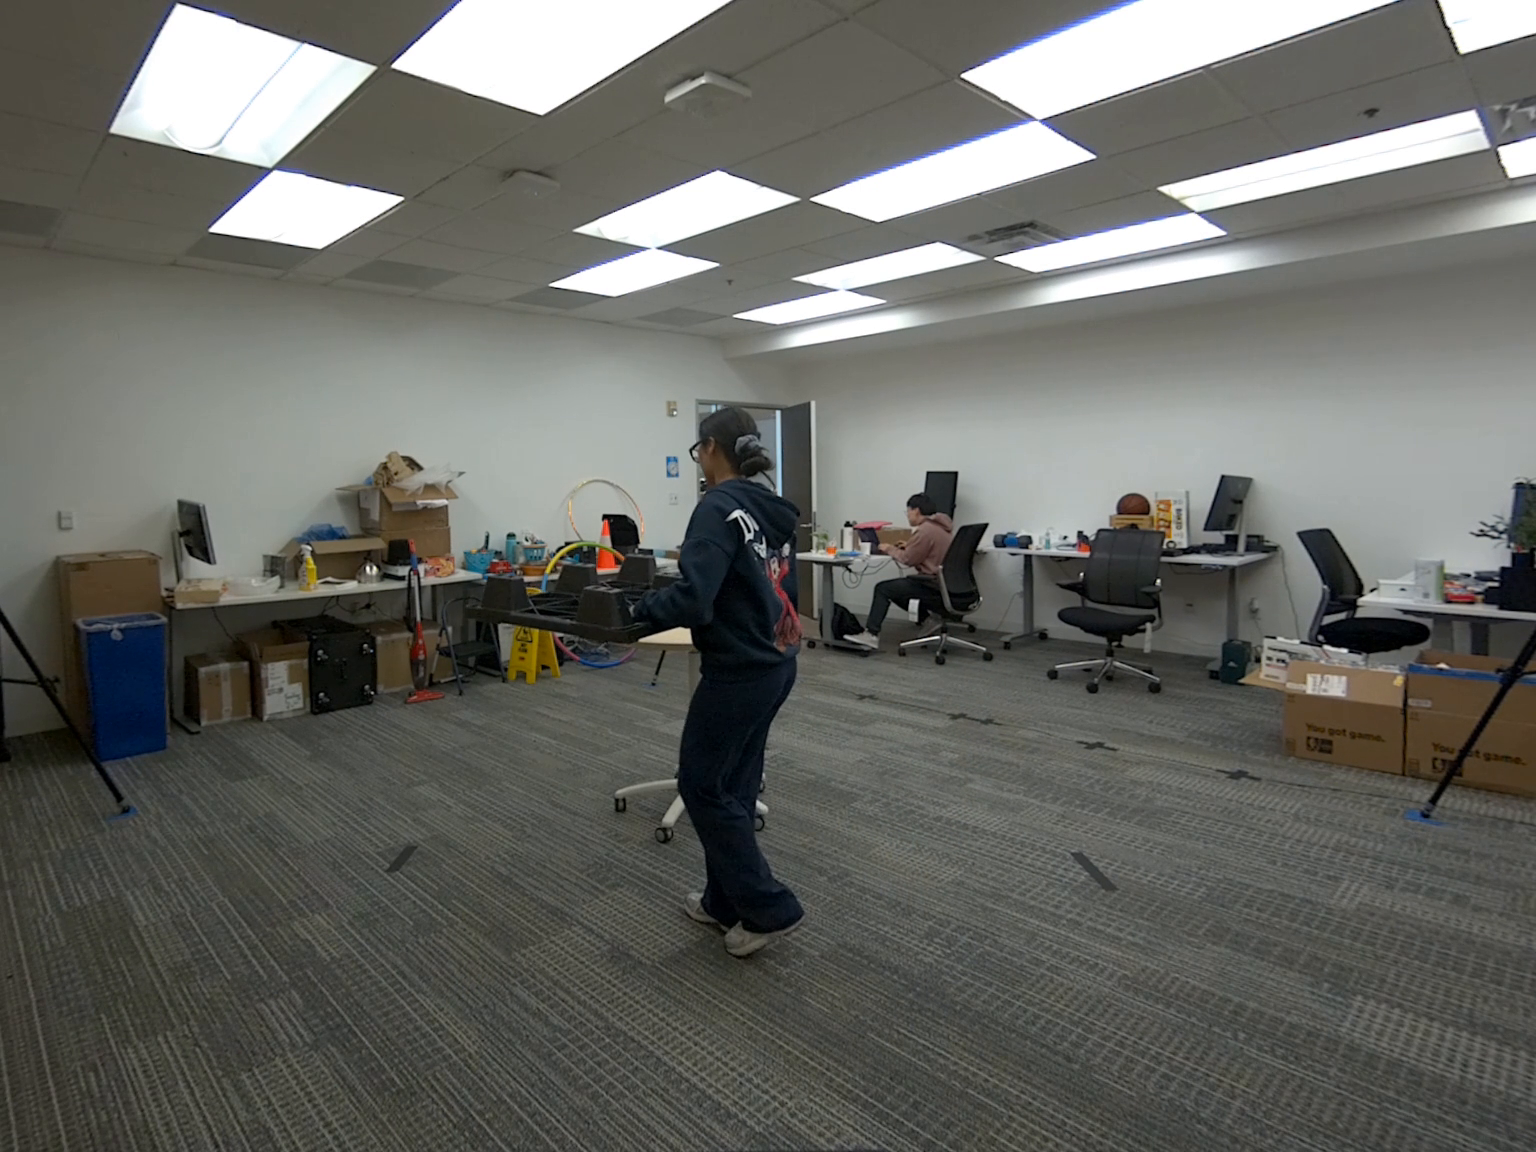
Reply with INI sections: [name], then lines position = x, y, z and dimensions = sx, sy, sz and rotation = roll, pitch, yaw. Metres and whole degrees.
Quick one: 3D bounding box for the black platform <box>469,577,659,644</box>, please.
[black platform]
position = -0.465, 0.047, 2.760
dimensions = 0.621, 0.142, 0.789
rotation = 6, 9, 28
